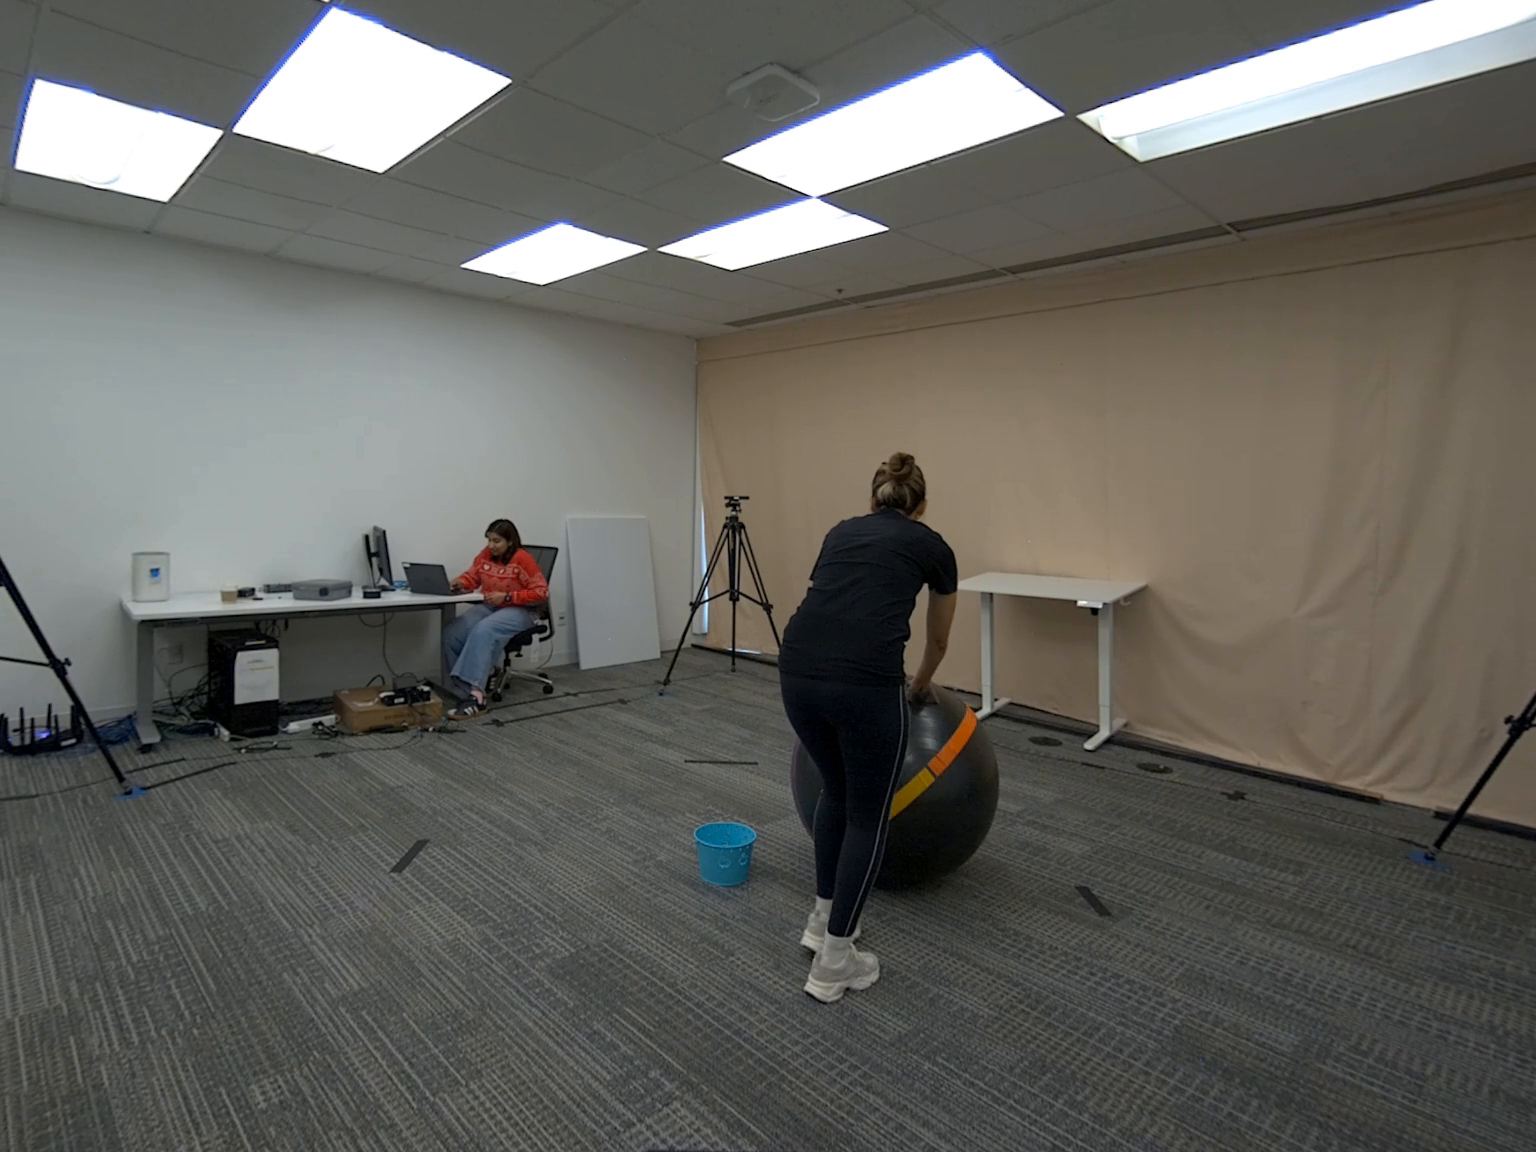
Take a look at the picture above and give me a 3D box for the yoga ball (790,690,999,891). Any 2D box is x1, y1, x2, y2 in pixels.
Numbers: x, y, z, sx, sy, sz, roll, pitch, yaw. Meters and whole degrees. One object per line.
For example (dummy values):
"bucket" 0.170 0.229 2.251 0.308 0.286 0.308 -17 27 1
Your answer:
"yoga ball" 0.459 0.746 3.132 0.757 0.756 0.761 1 4 -1
